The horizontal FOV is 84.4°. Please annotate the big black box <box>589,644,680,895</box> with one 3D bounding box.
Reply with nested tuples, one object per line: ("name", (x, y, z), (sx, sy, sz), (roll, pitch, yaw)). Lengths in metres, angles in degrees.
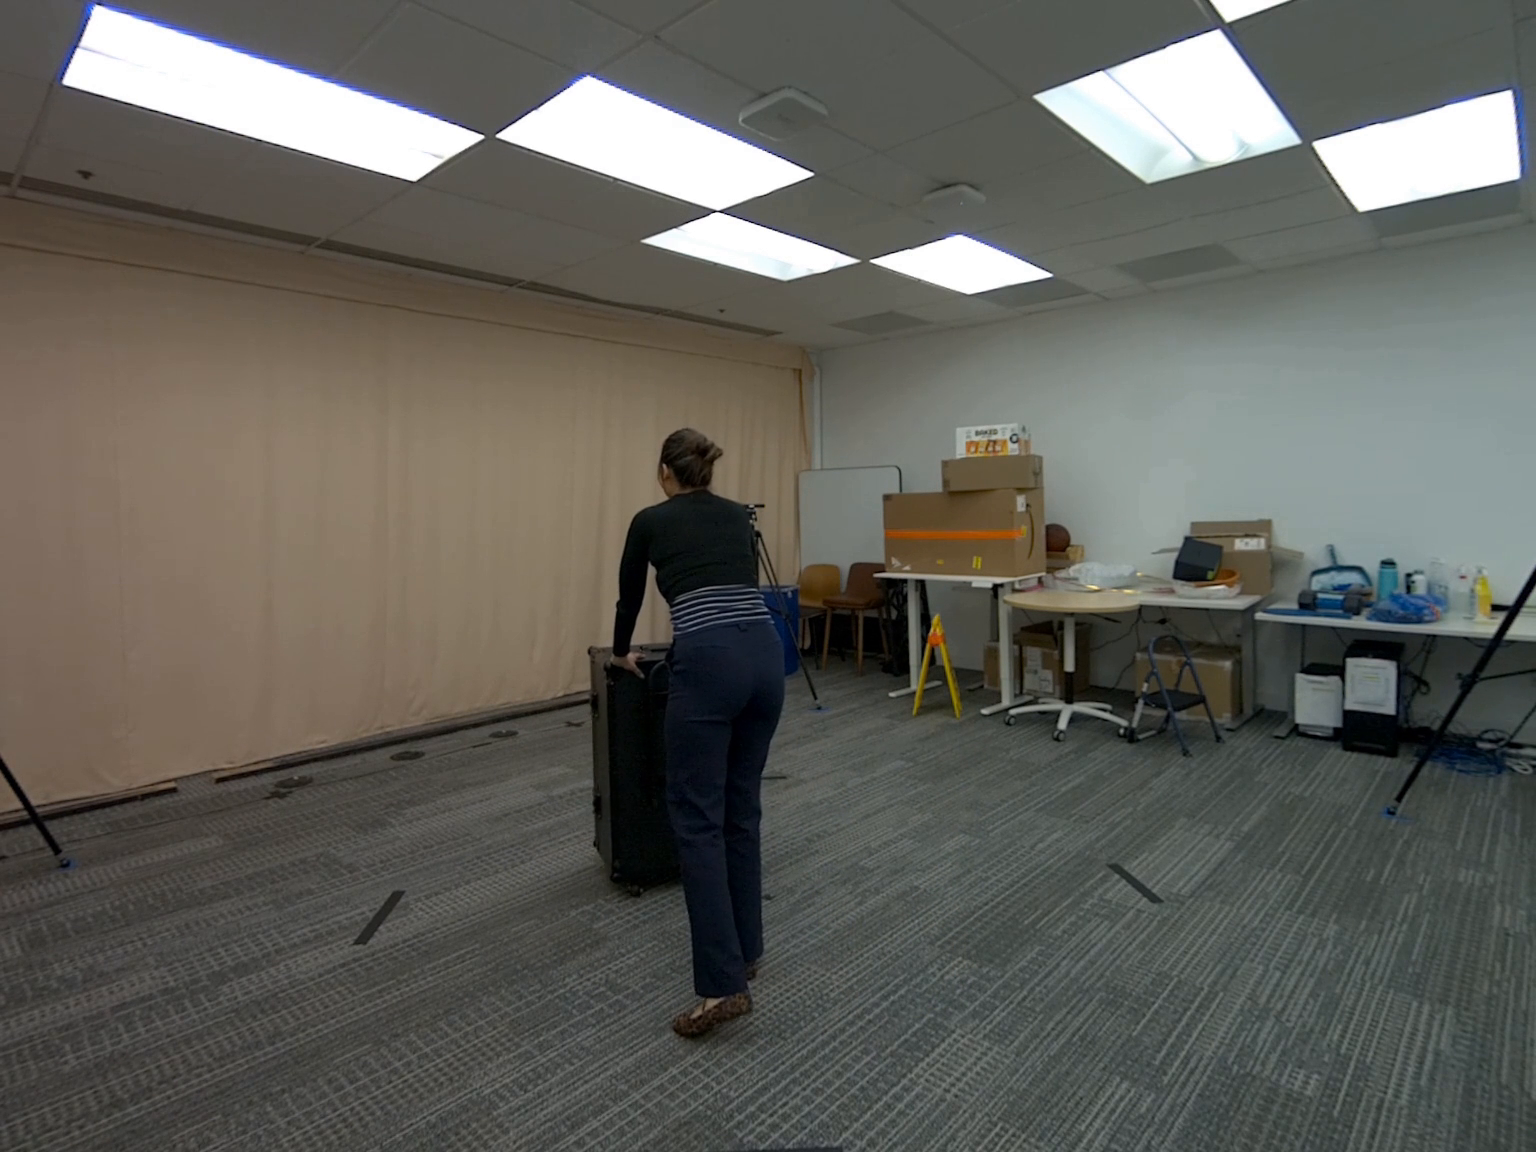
("big black box", (-0.390, 0.705, 3.179), (0.511, 0.859, 0.405), (-1, 4, -20))
